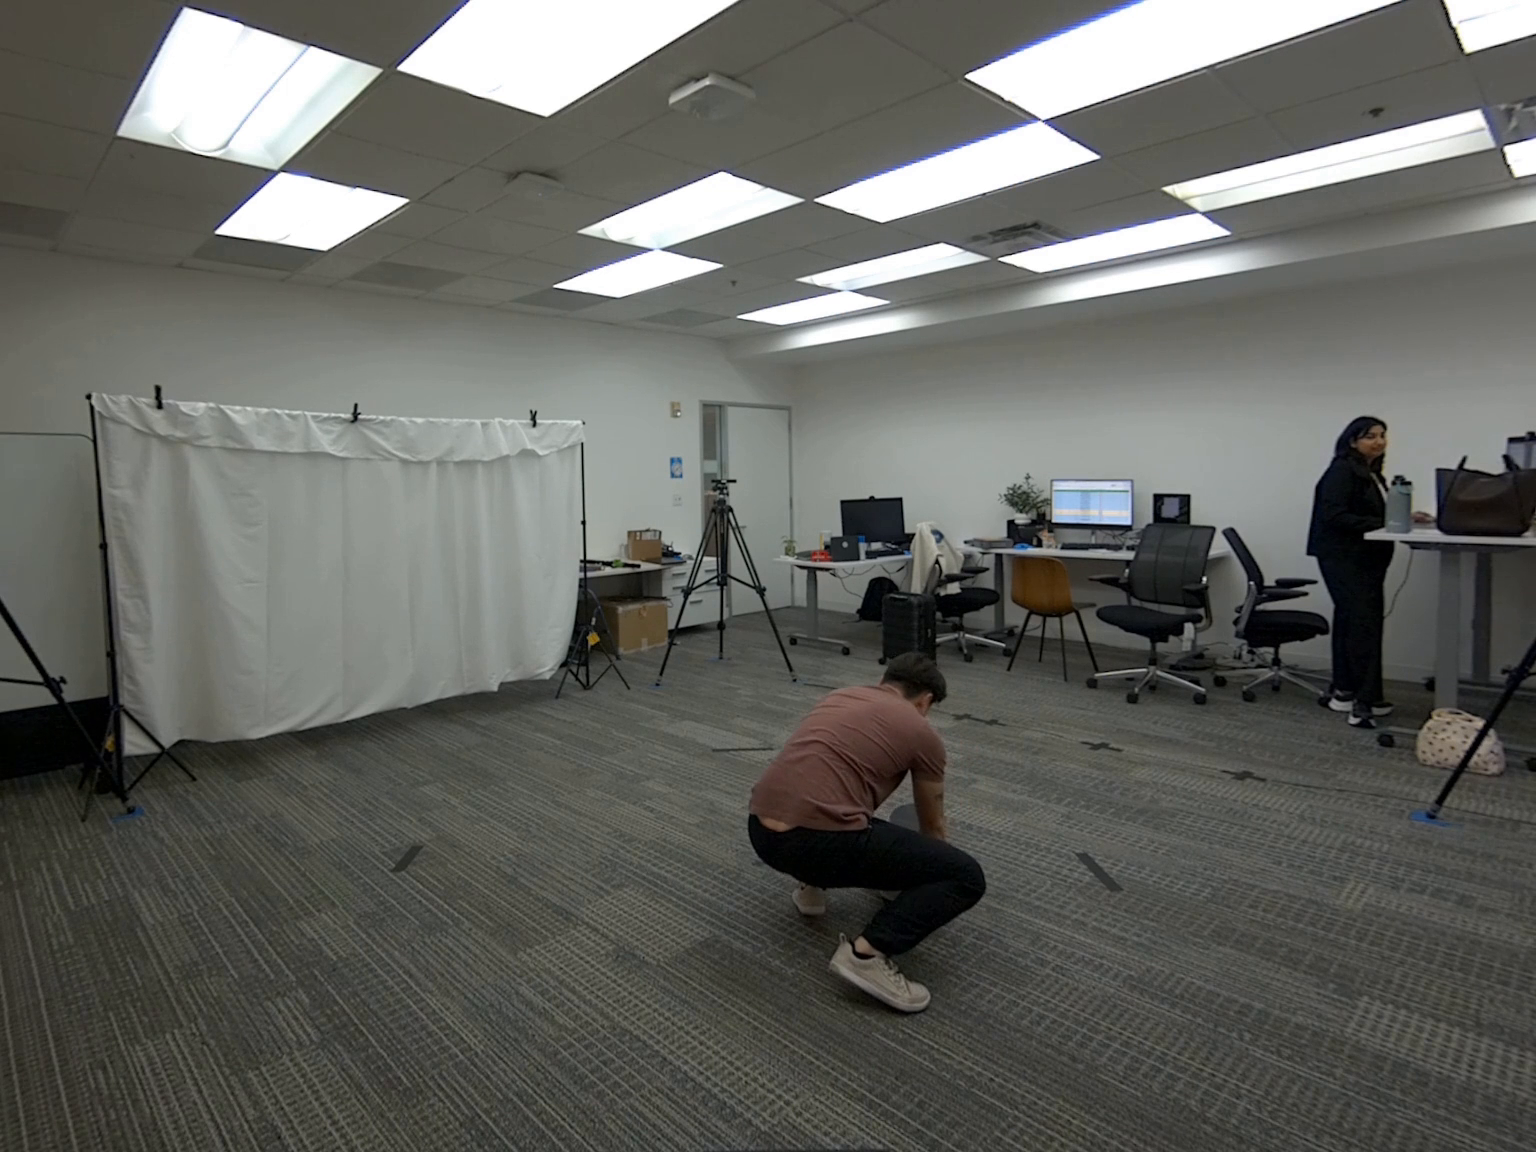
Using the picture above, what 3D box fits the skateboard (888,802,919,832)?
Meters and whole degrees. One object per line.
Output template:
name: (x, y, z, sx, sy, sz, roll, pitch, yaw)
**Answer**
skateboard: (0.508, 0.993, 2.991, 0.196, 0.110, 0.779, -1, 7, 11)
